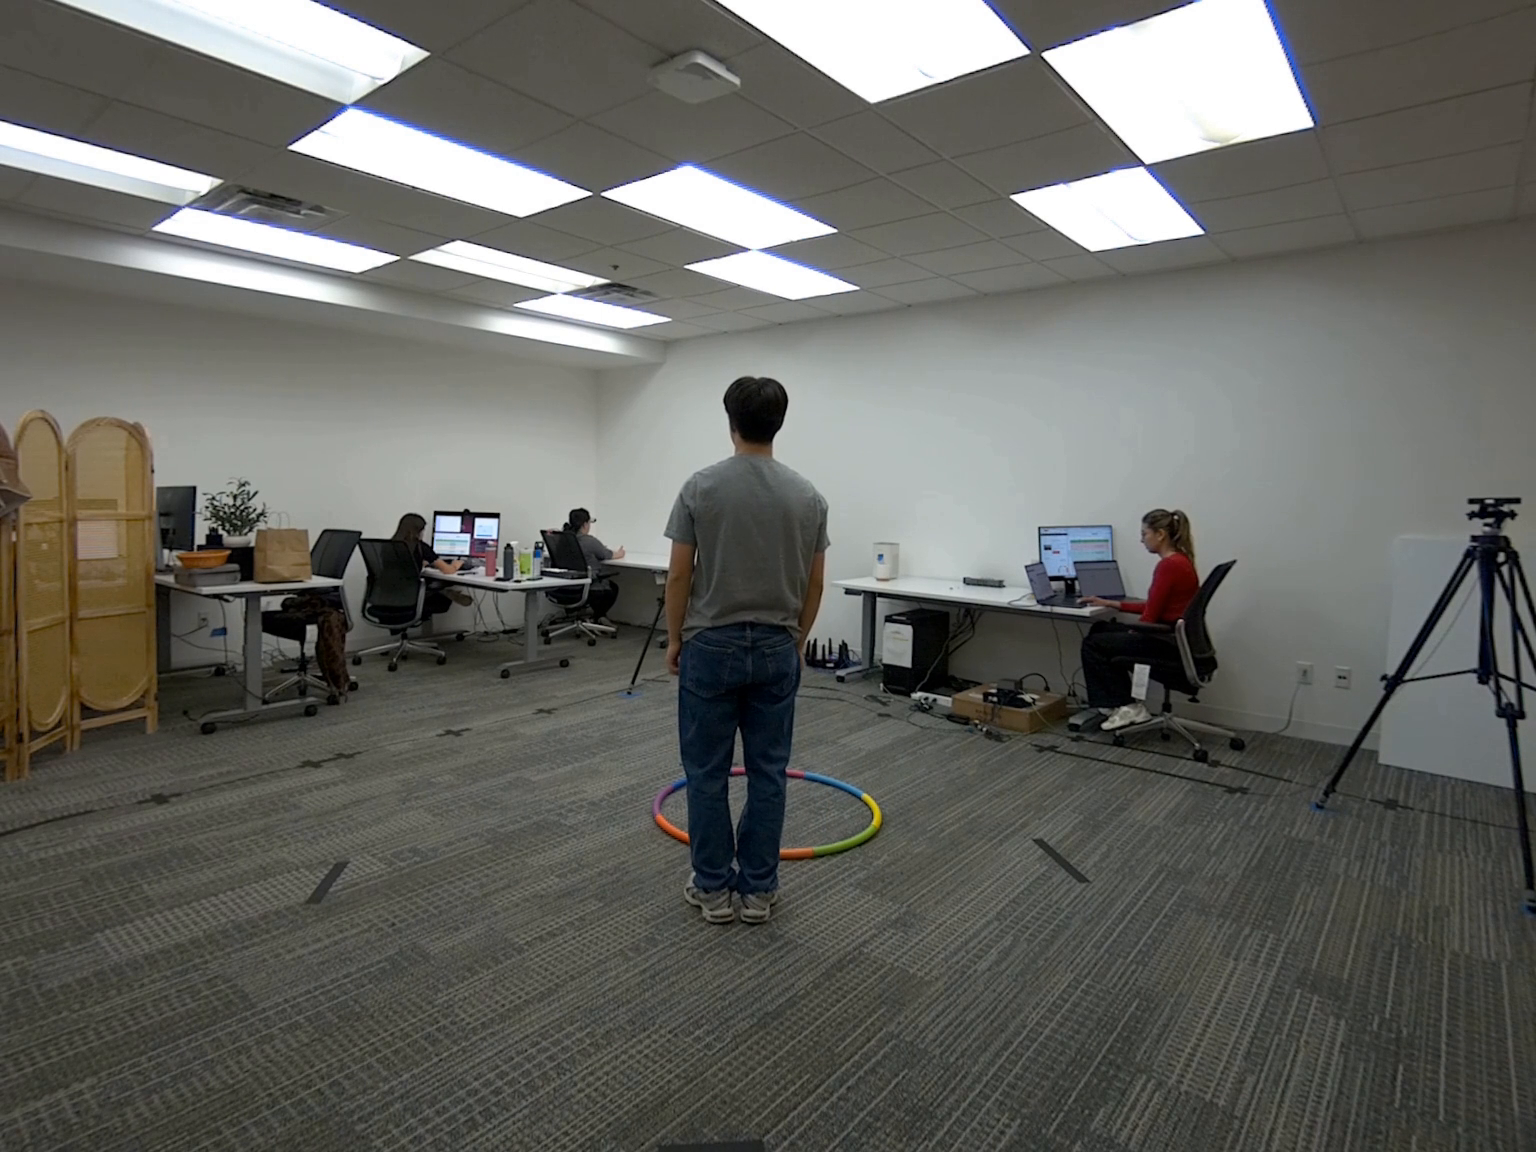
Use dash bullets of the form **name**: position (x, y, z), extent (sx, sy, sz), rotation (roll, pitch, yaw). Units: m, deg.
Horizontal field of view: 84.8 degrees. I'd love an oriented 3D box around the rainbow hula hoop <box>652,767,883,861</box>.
- **rainbow hula hoop**: position (-0.021, 0.985, 3.667), extent (0.978, 0.035, 0.984), rotation (1, 6, -2)
